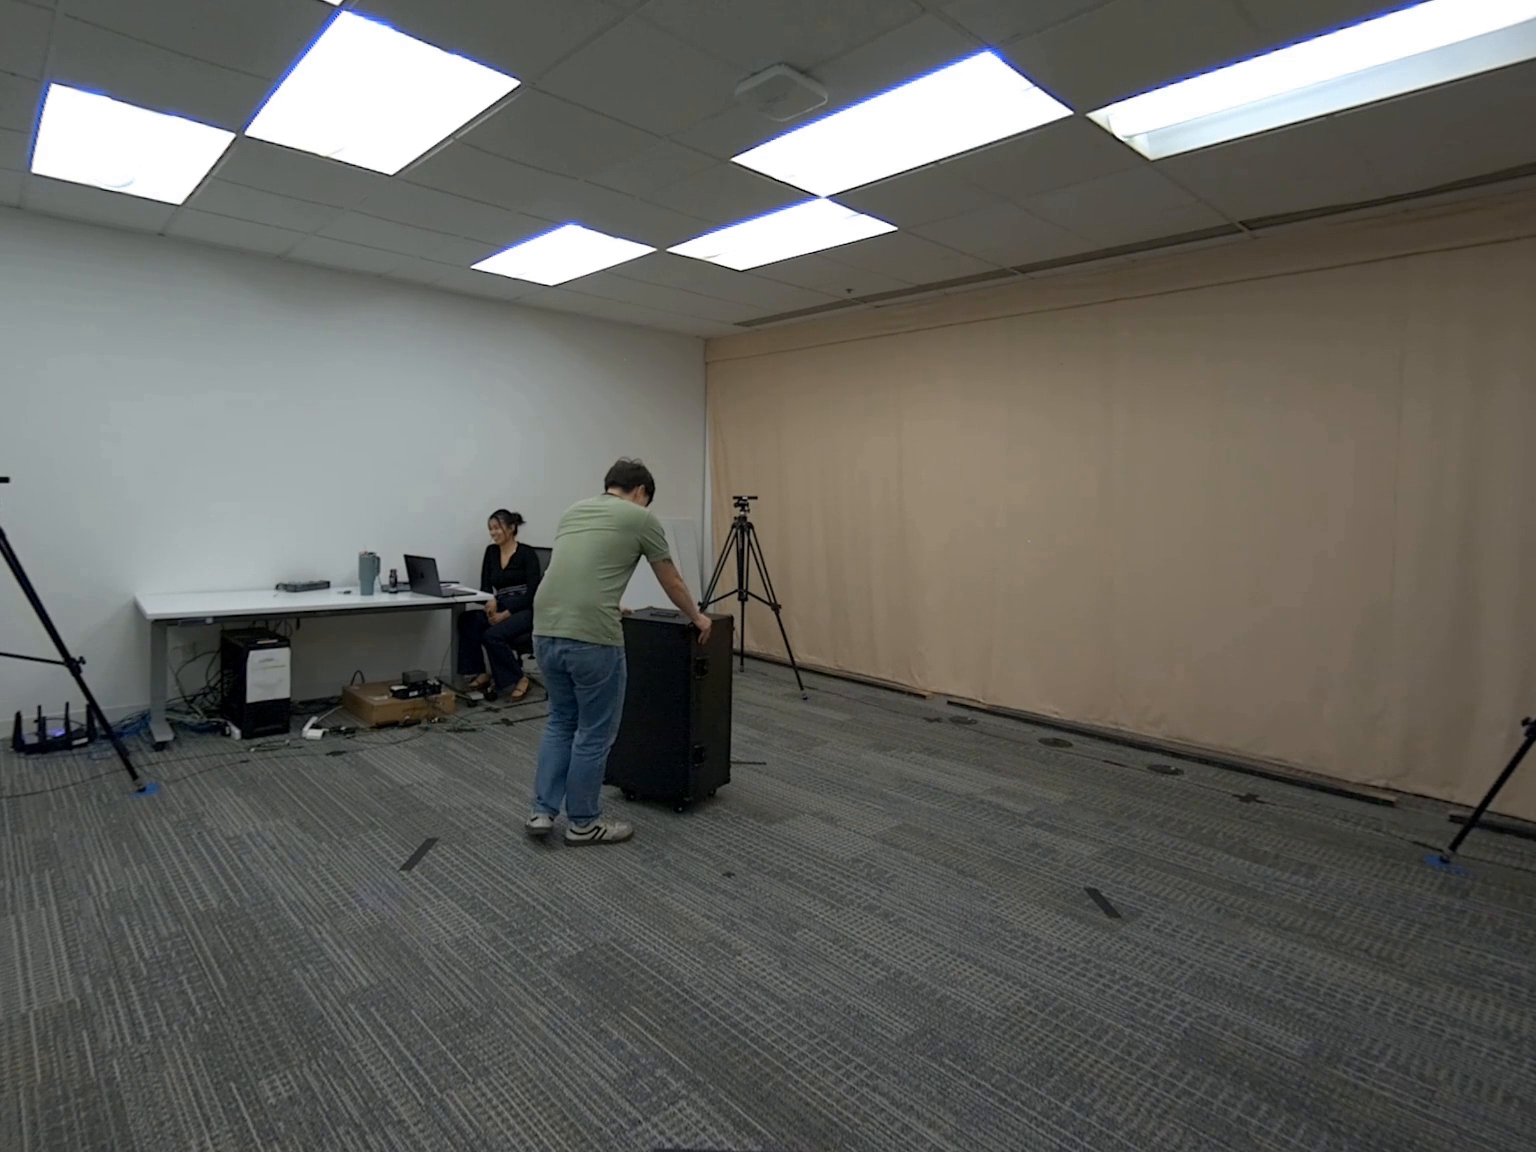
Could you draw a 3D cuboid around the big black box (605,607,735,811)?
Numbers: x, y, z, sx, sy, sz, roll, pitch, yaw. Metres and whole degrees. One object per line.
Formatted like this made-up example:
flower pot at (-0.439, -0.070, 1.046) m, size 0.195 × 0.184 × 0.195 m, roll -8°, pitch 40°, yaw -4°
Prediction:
big black box at (-0.464, 0.601, 3.882) m, size 0.533 × 0.860 × 0.388 m, roll 4°, pitch 3°, yaw 31°
